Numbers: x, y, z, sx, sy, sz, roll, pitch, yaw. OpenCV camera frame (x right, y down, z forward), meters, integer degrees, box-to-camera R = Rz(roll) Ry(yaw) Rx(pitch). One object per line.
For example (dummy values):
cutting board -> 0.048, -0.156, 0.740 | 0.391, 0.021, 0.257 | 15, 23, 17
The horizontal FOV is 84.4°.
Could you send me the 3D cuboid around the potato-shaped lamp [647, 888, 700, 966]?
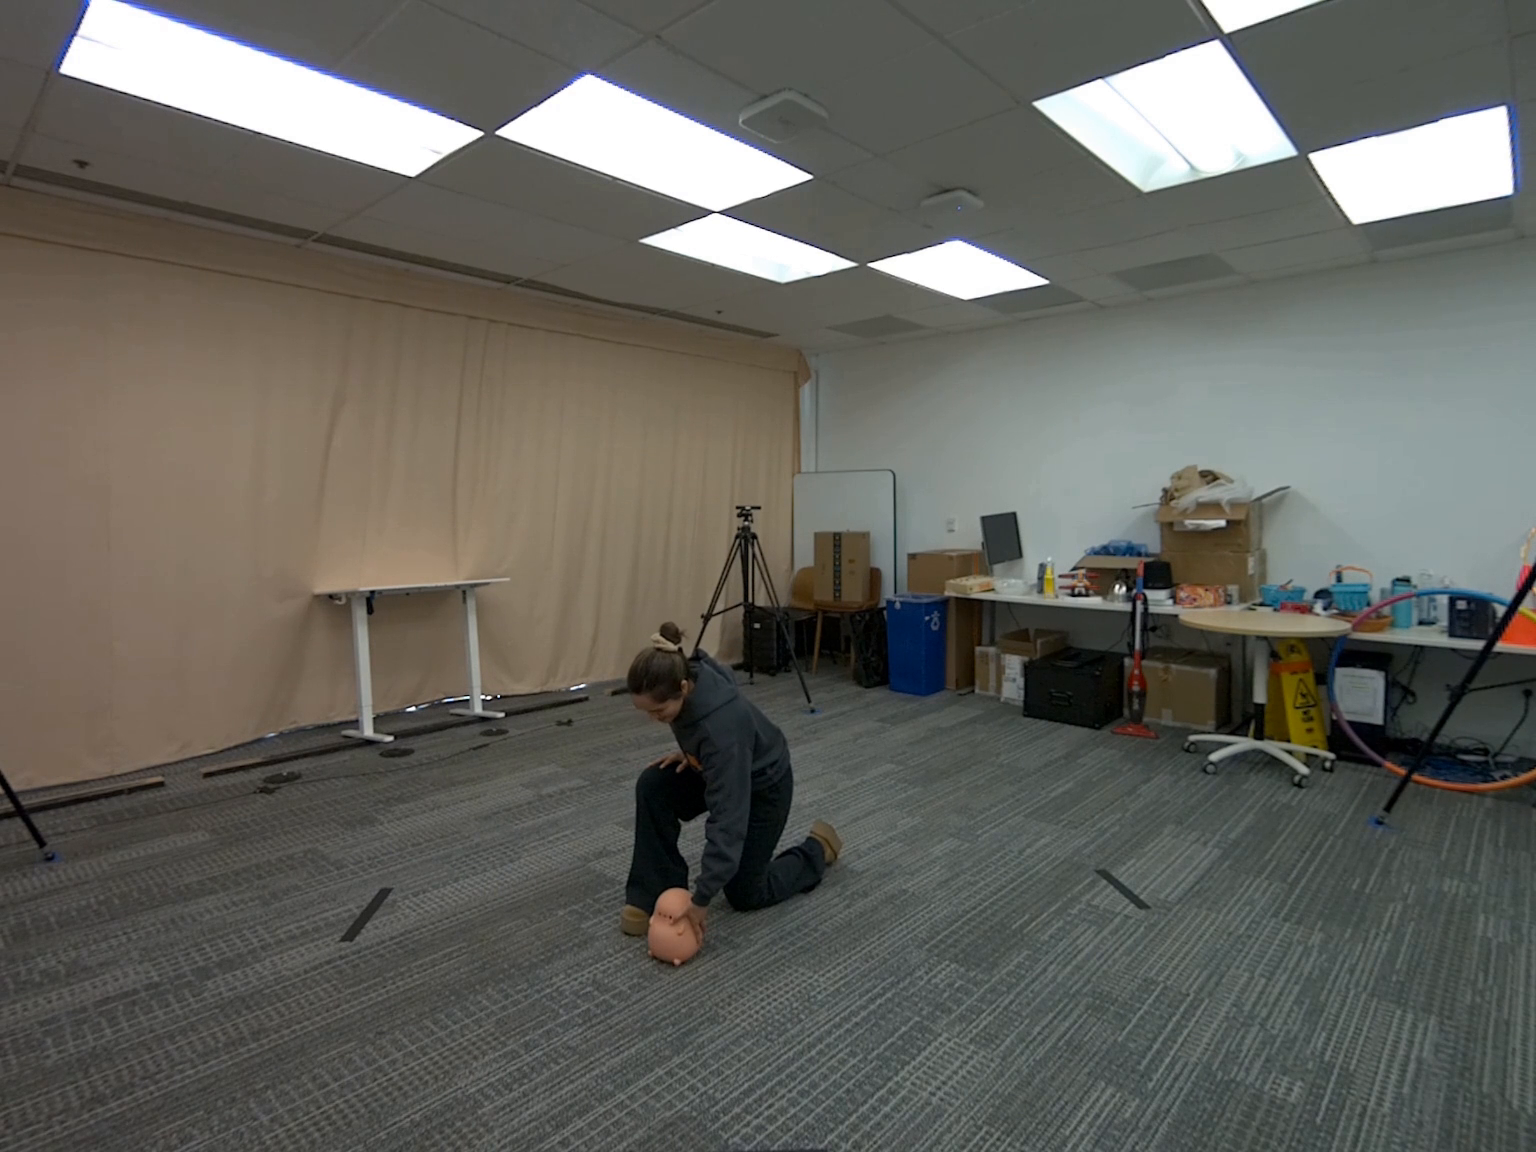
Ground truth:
potato-shaped lamp -> -0.261, 1.079, 2.611 | 0.170, 0.198, 0.166 | 0, 3, 38
